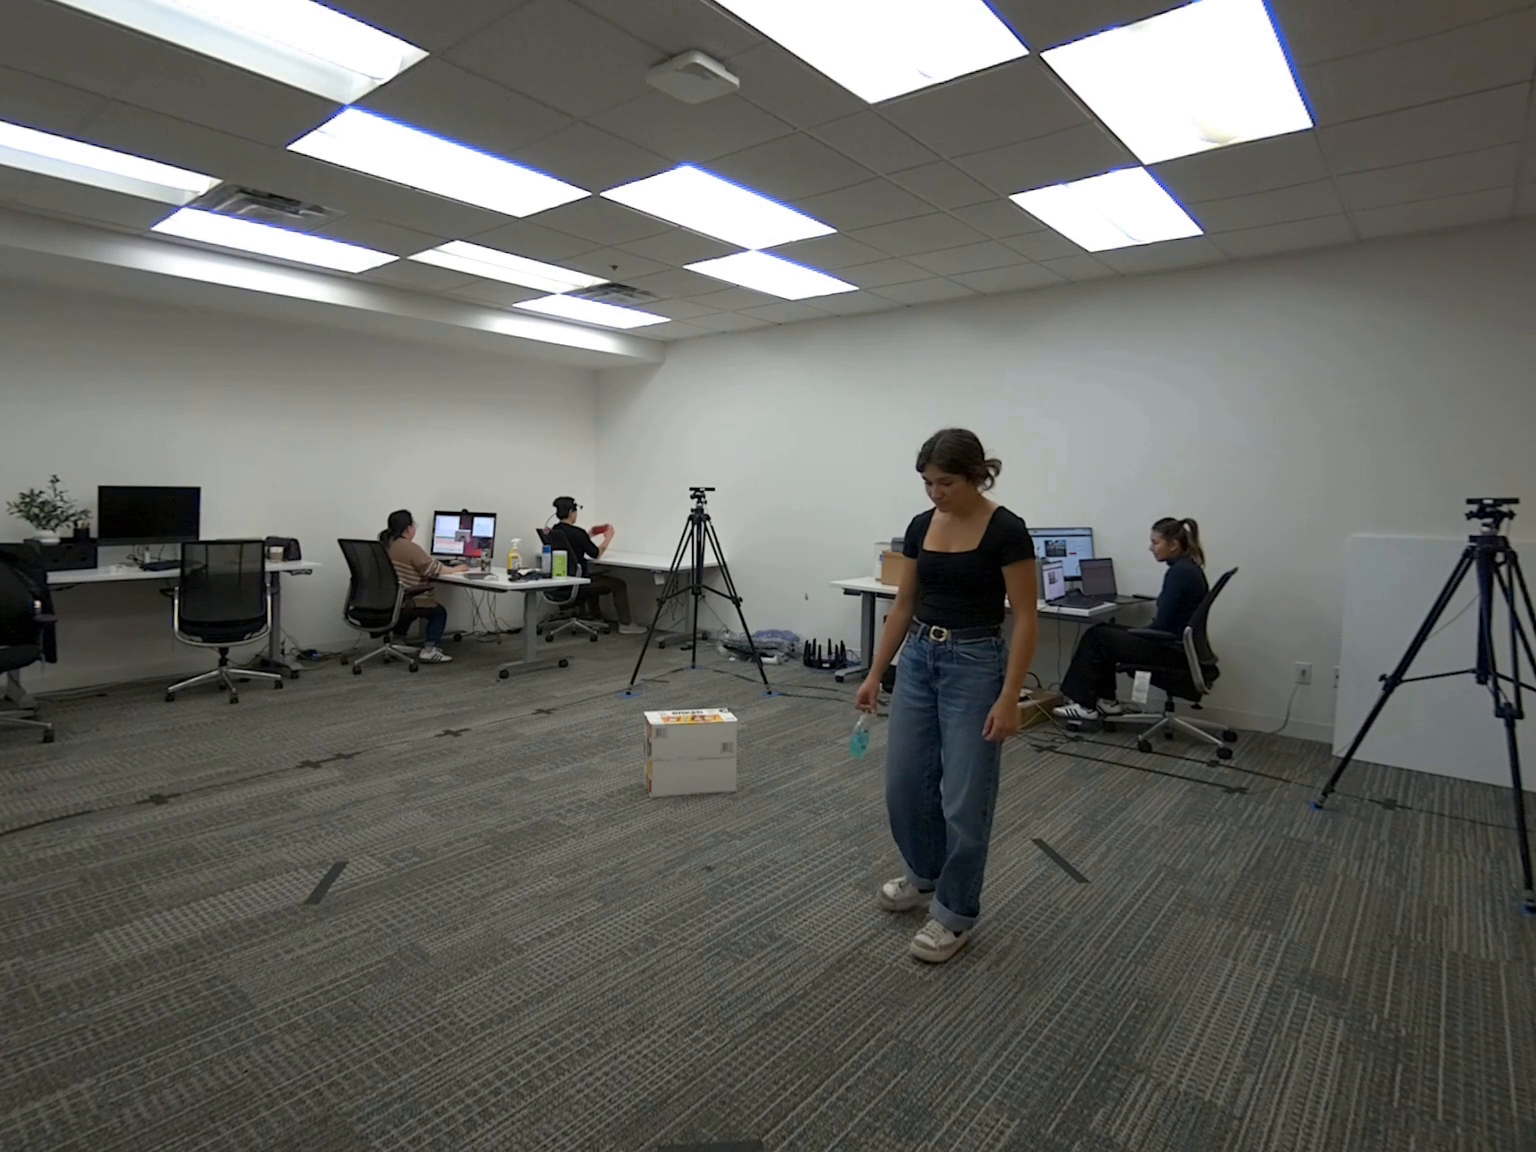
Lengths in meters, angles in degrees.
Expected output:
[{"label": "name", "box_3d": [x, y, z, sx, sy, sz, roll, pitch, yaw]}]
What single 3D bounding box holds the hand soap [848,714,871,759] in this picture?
[{"label": "hand soap", "box_3d": [0.317, 0.498, 2.726, 0.043, 0.168, 0.086, 1, 0, -14]}]
